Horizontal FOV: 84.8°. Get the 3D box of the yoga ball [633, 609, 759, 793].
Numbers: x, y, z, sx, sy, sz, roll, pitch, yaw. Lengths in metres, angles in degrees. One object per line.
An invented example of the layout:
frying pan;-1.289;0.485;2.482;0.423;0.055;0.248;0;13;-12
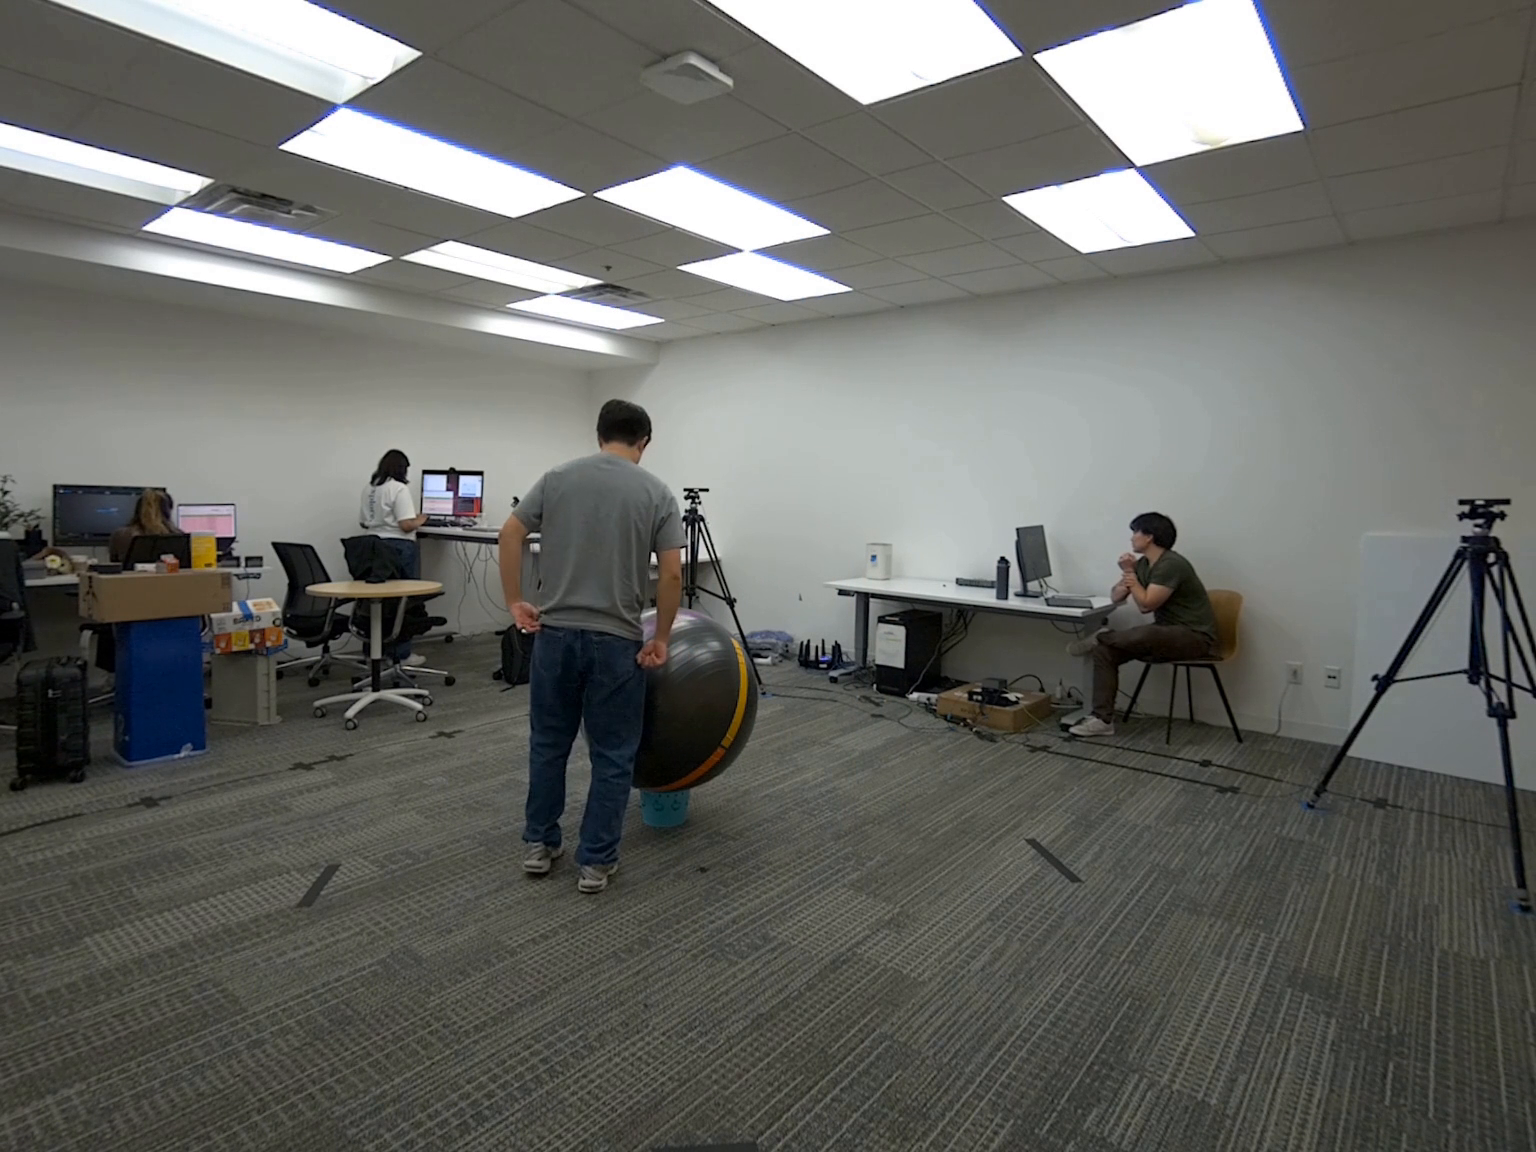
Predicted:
yoga ball;-0.431;0.510;3.566;0.757;0.755;0.762;1;4;-2
